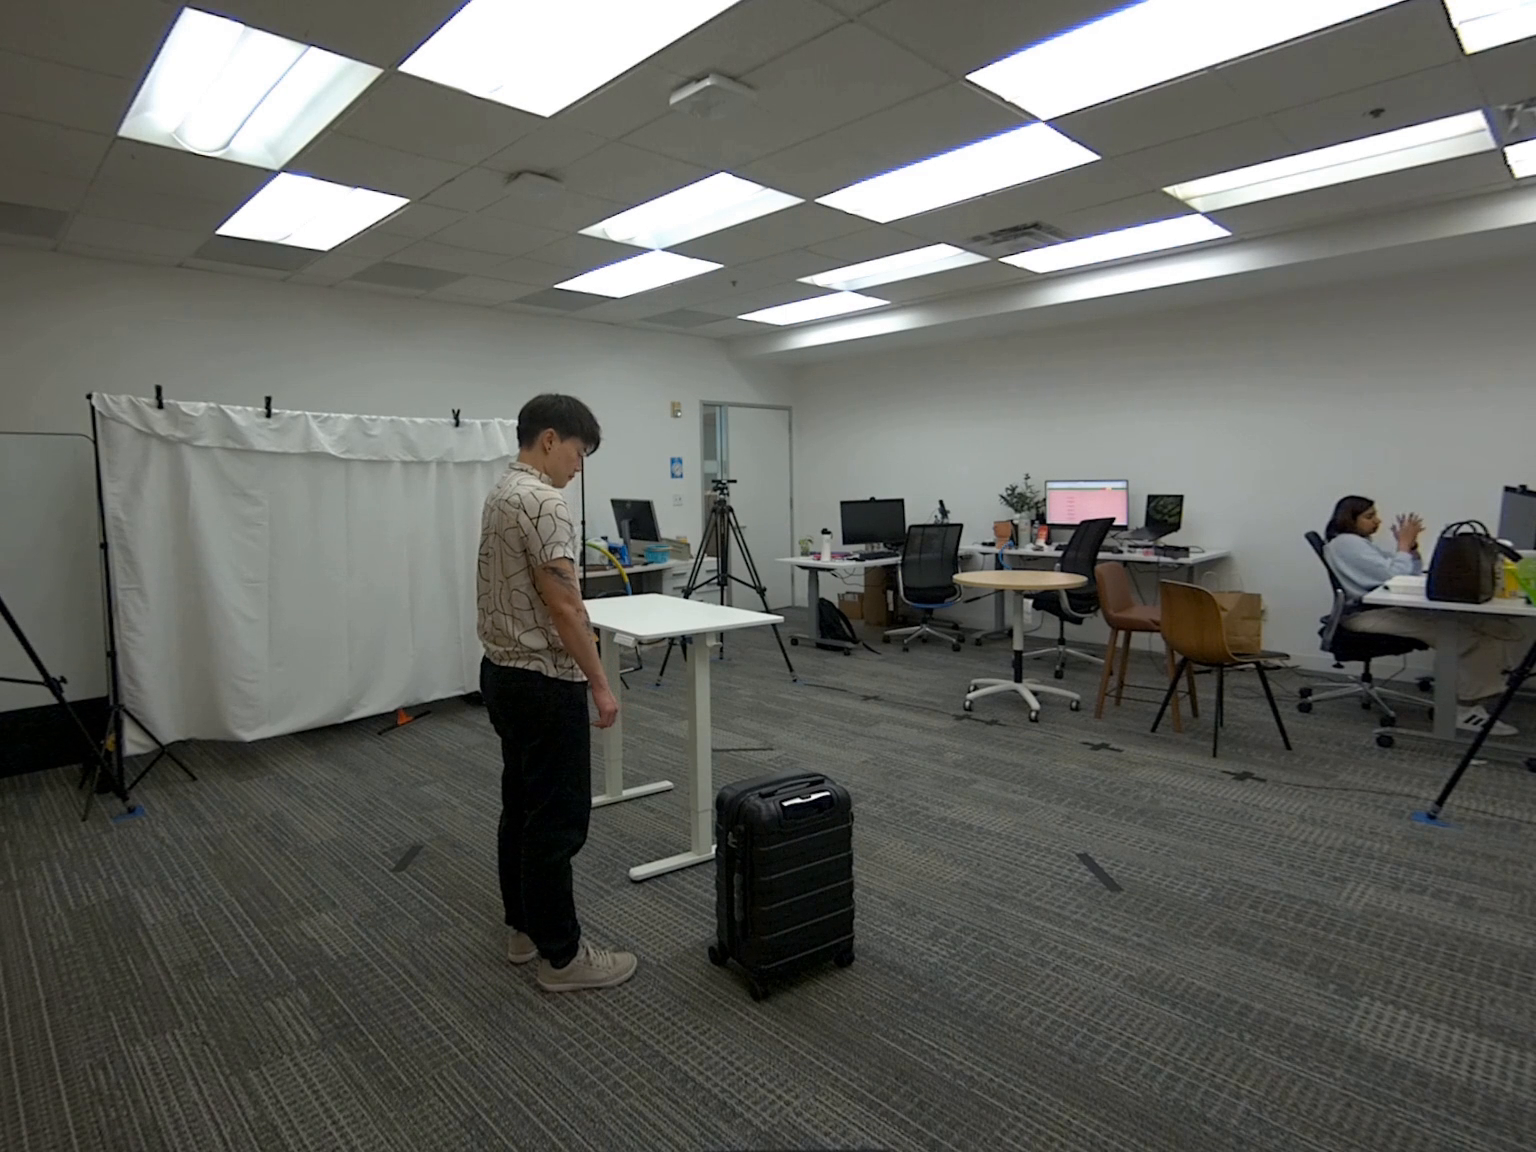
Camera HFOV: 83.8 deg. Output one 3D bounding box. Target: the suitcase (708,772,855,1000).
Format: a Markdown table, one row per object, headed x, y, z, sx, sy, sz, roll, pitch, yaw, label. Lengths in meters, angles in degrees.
| x | y | z | sx | sy | sz | roll | pitch | yaw | label |
| --- | --- | --- | --- | --- | --- | --- | --- | --- | --- |
| 0.051 | 0.844 | 2.439 | 0.366 | 0.547 | 0.256 | -3 | 5 | -34 | suitcase |
